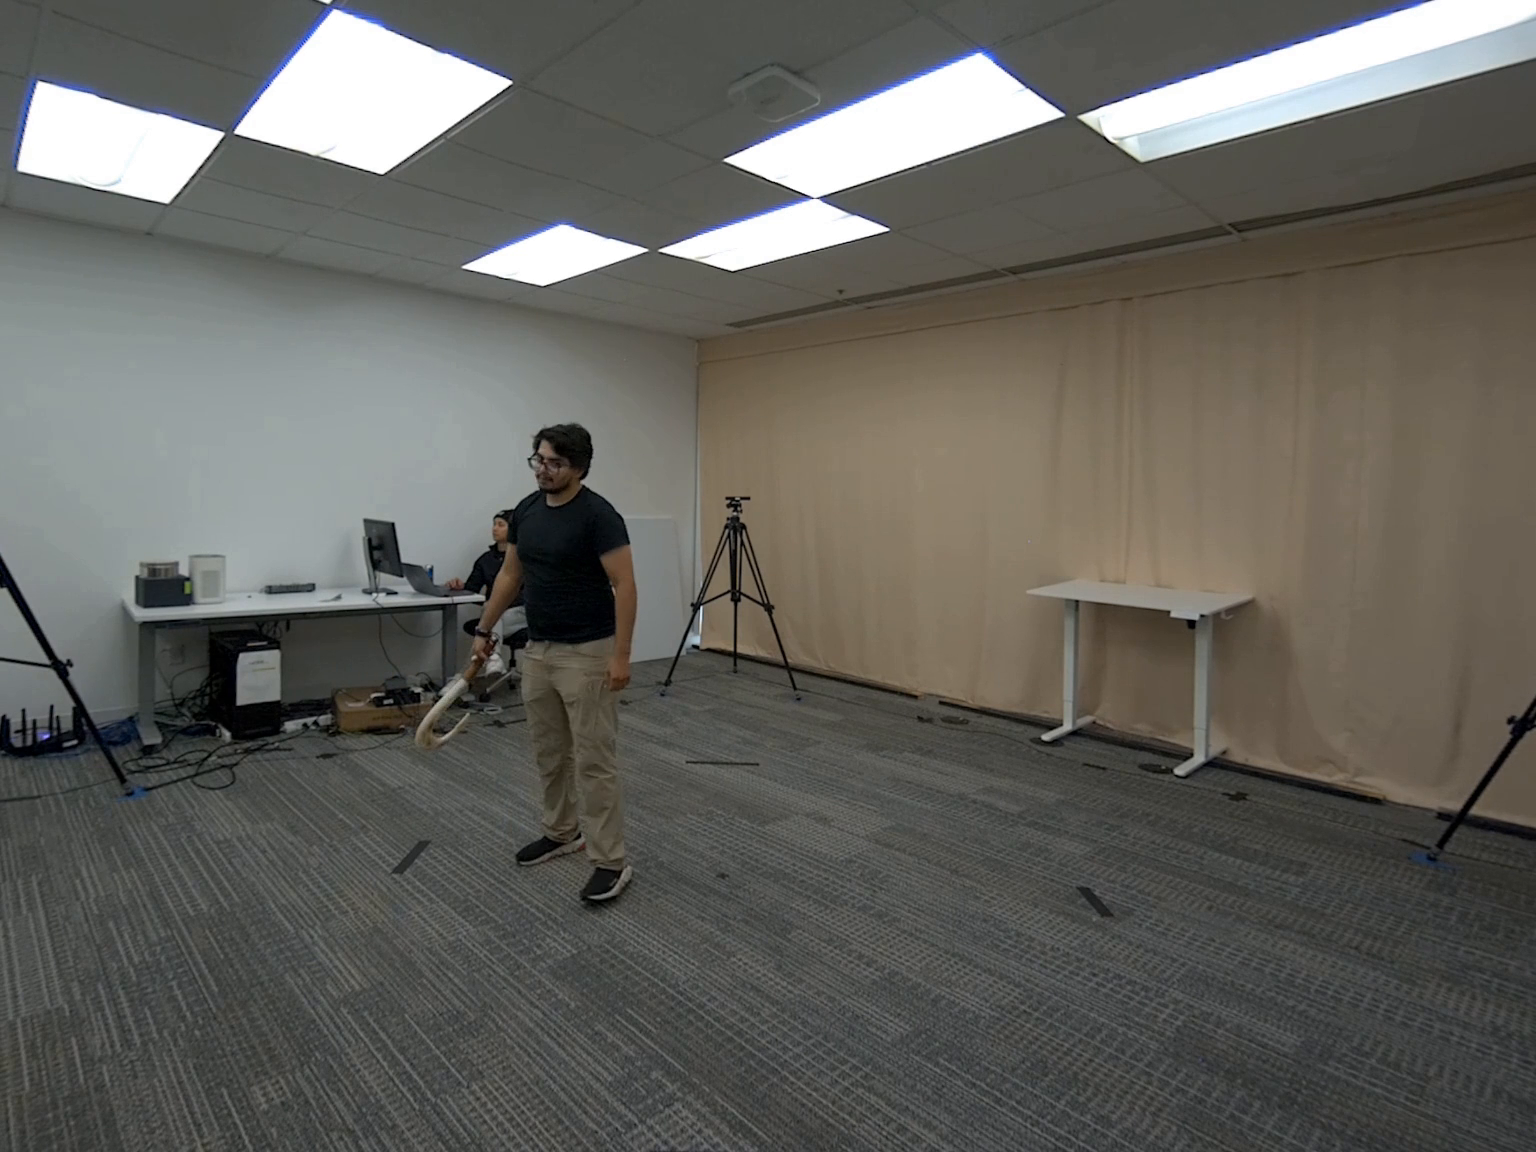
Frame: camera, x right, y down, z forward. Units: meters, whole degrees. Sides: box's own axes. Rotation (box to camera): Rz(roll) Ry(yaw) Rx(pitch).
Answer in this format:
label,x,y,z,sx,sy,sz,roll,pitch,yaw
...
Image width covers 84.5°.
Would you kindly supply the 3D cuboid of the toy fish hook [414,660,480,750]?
label,x,y,z,sx,sy,sz,roll,pitch,yaw
toy fish hook,-1.185,0.453,3.268,0.049,0.507,0.219,31,-10,20
